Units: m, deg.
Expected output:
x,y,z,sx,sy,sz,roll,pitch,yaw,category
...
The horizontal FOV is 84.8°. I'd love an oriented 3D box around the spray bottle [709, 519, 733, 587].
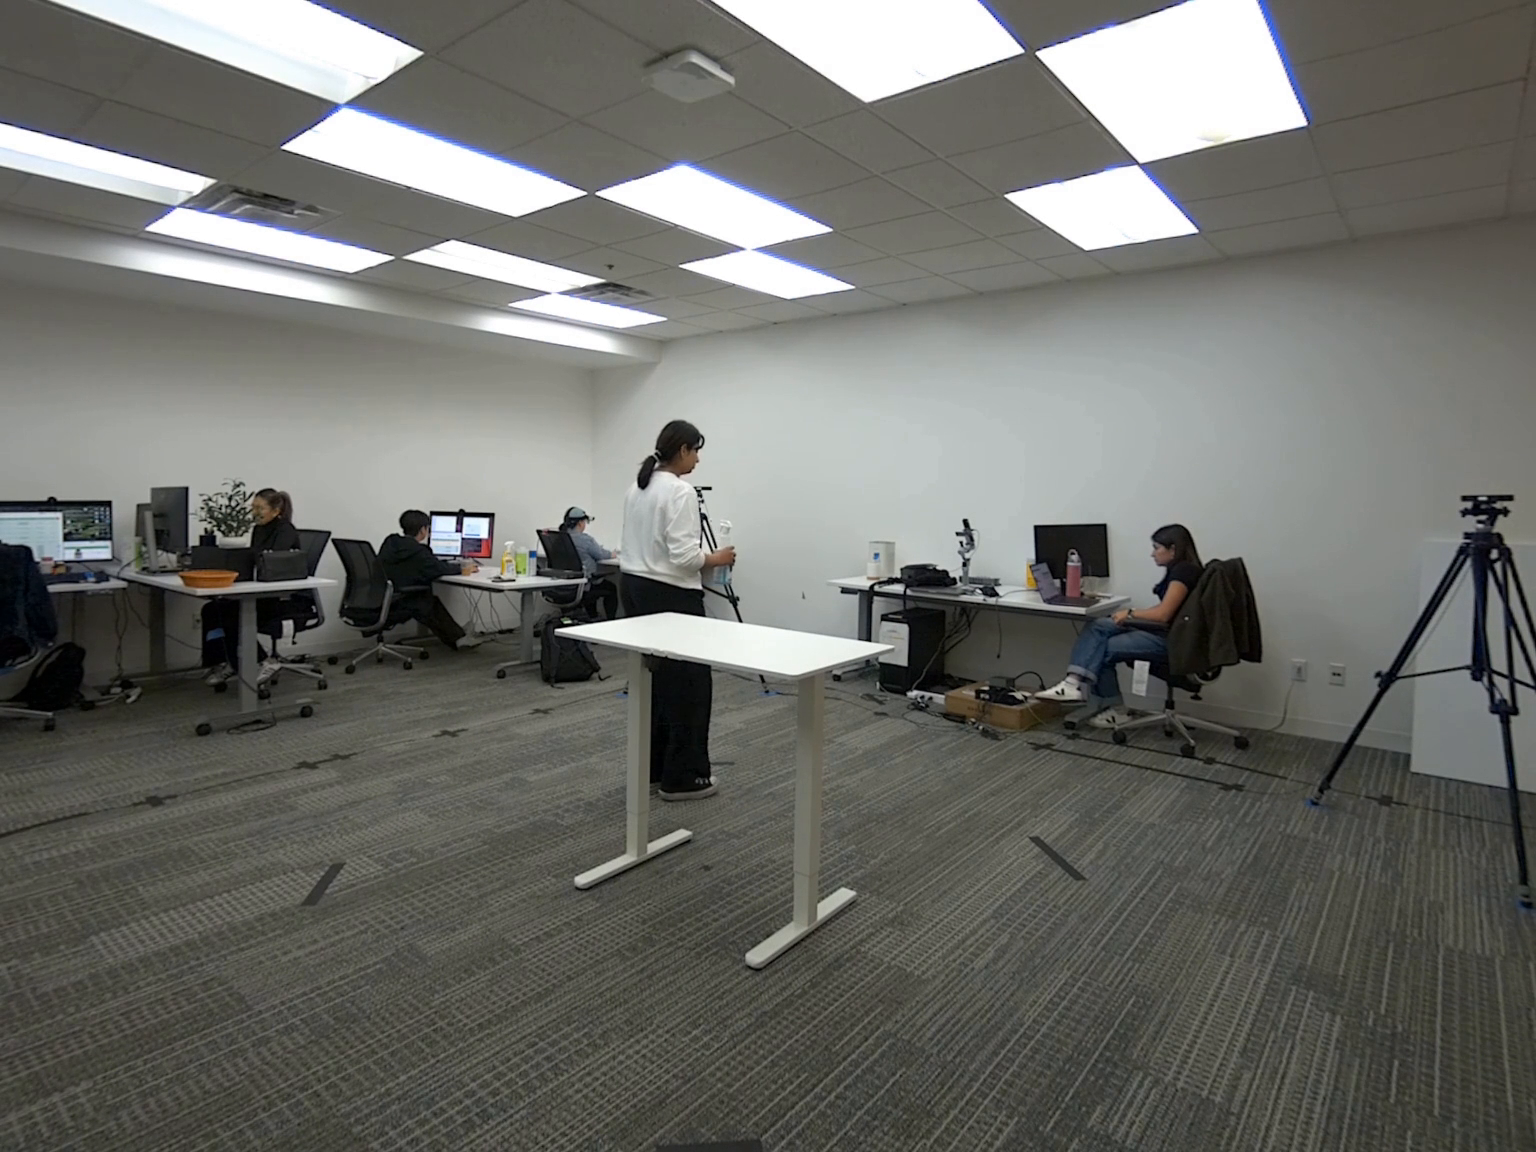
x,y,z,sx,sy,sz,roll,pitch,yaw,category
-0.210,-0.106,3.965,0.086,0.297,0.091,-2,0,-12,spray bottle
